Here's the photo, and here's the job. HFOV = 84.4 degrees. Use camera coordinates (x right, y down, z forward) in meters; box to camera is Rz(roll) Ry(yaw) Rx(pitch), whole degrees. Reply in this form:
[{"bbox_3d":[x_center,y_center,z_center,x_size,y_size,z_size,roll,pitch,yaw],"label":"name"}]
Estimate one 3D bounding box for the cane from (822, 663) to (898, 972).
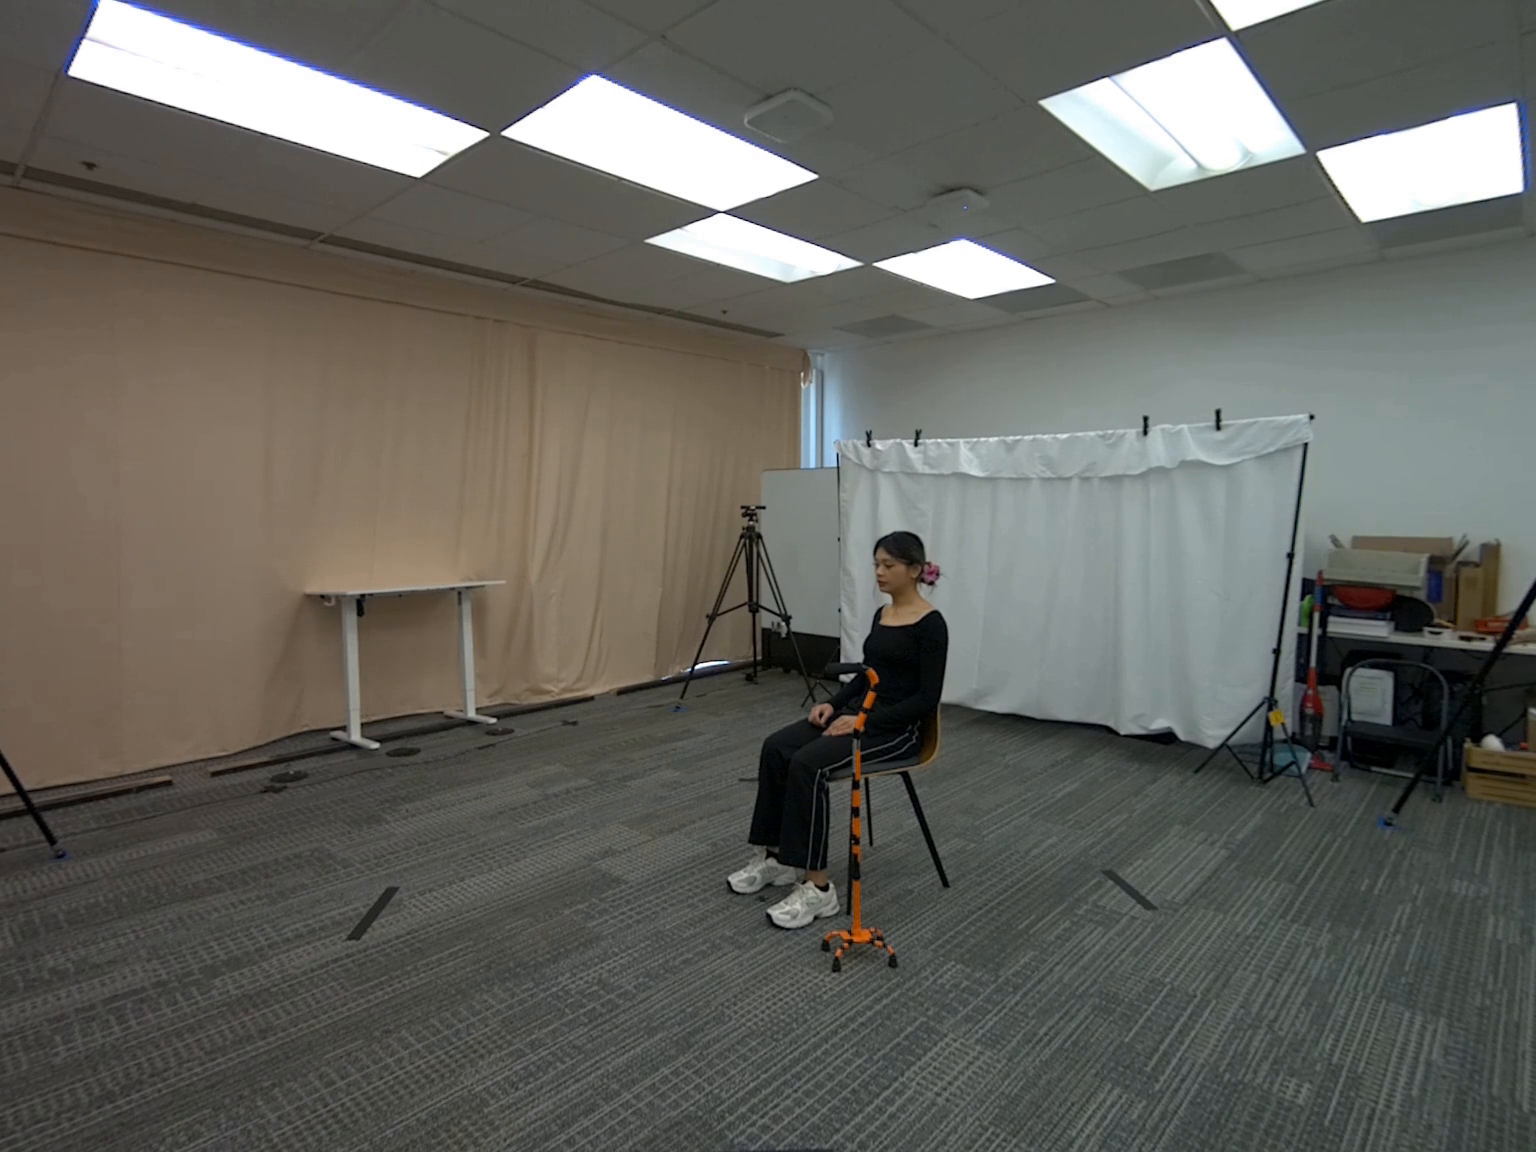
[{"bbox_3d":[0.280,0.719,2.581,0.204,0.906,0.153,-1,3,-10],"label":"cane"}]
